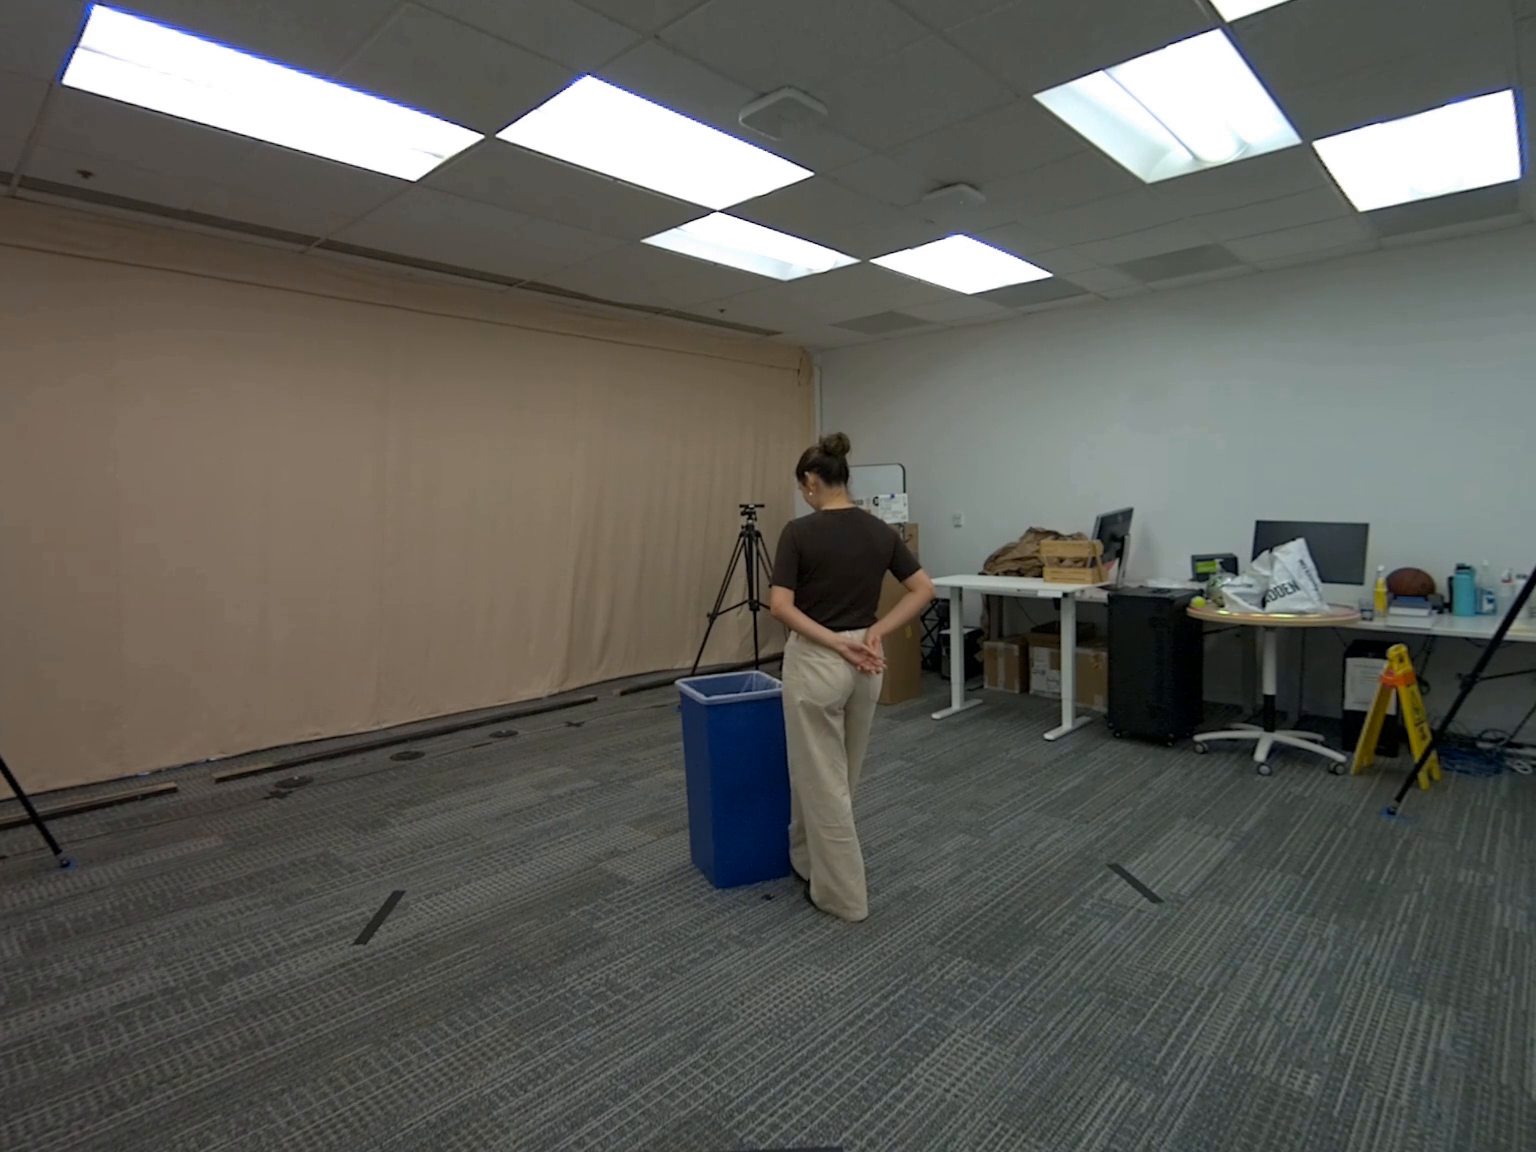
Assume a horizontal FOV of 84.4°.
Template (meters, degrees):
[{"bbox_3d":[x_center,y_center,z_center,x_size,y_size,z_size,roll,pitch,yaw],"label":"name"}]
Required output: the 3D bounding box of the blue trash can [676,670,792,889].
[{"bbox_3d":[-0.124,0.763,3.222,0.370,0.712,0.383,-3,4,-23],"label":"blue trash can"}]
